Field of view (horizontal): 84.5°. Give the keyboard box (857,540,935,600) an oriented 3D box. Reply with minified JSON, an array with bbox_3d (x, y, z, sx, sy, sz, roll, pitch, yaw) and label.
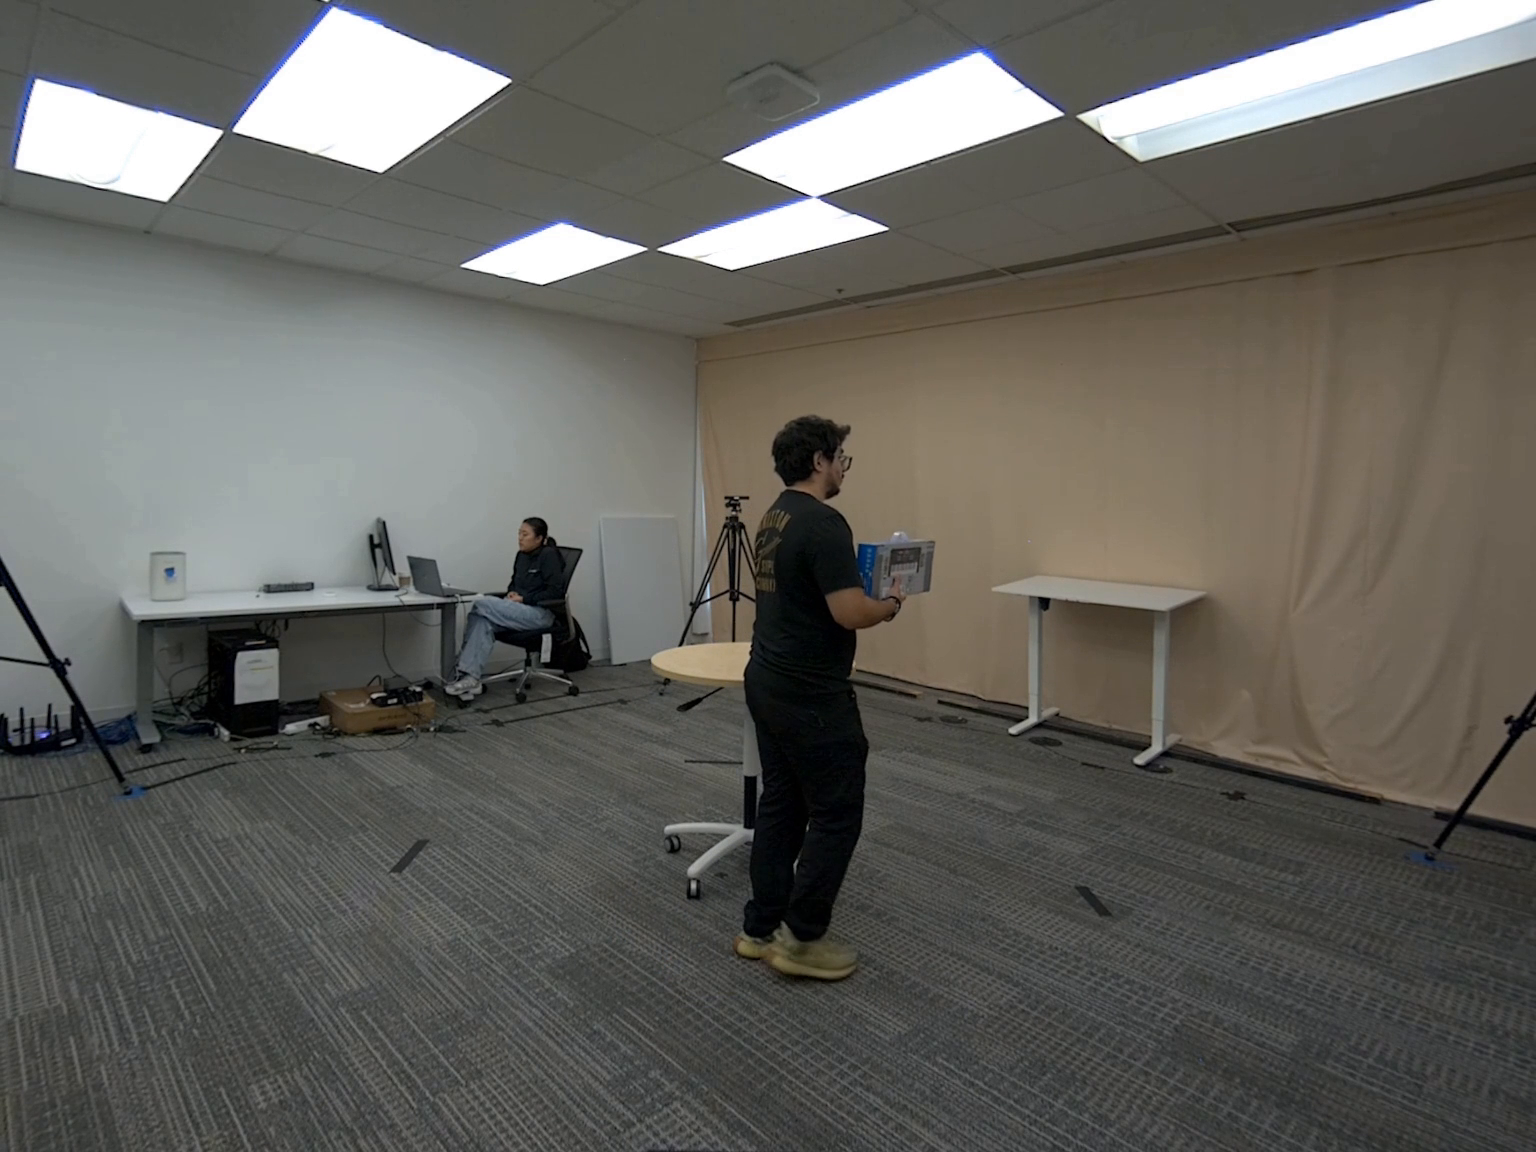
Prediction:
[{"bbox_3d":[0.404,-0.018,2.641,0.060,0.175,0.427,8,7,34],"label":"keyboard box"}]
